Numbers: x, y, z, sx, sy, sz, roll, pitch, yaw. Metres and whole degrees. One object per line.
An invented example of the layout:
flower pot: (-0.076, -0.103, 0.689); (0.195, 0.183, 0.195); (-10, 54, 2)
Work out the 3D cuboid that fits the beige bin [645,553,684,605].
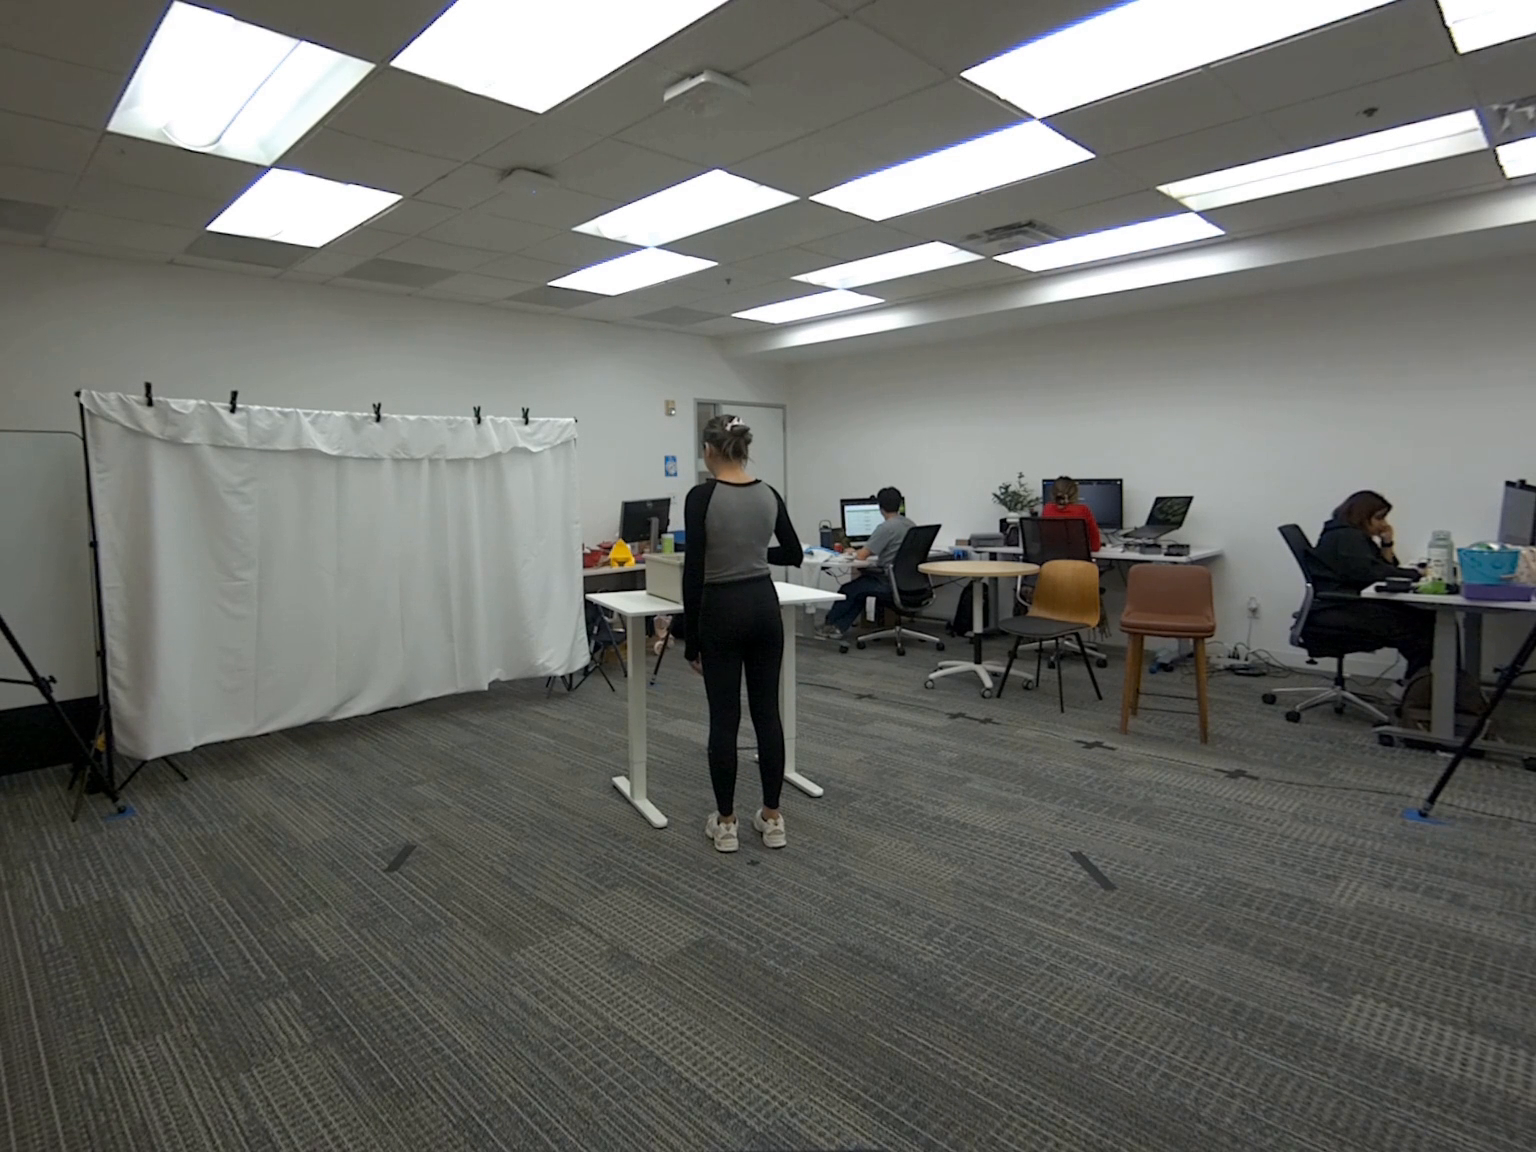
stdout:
beige bin: (-0.292, 0.008, 3.742); (0.369, 0.188, 0.434); (-5, 8, -30)
